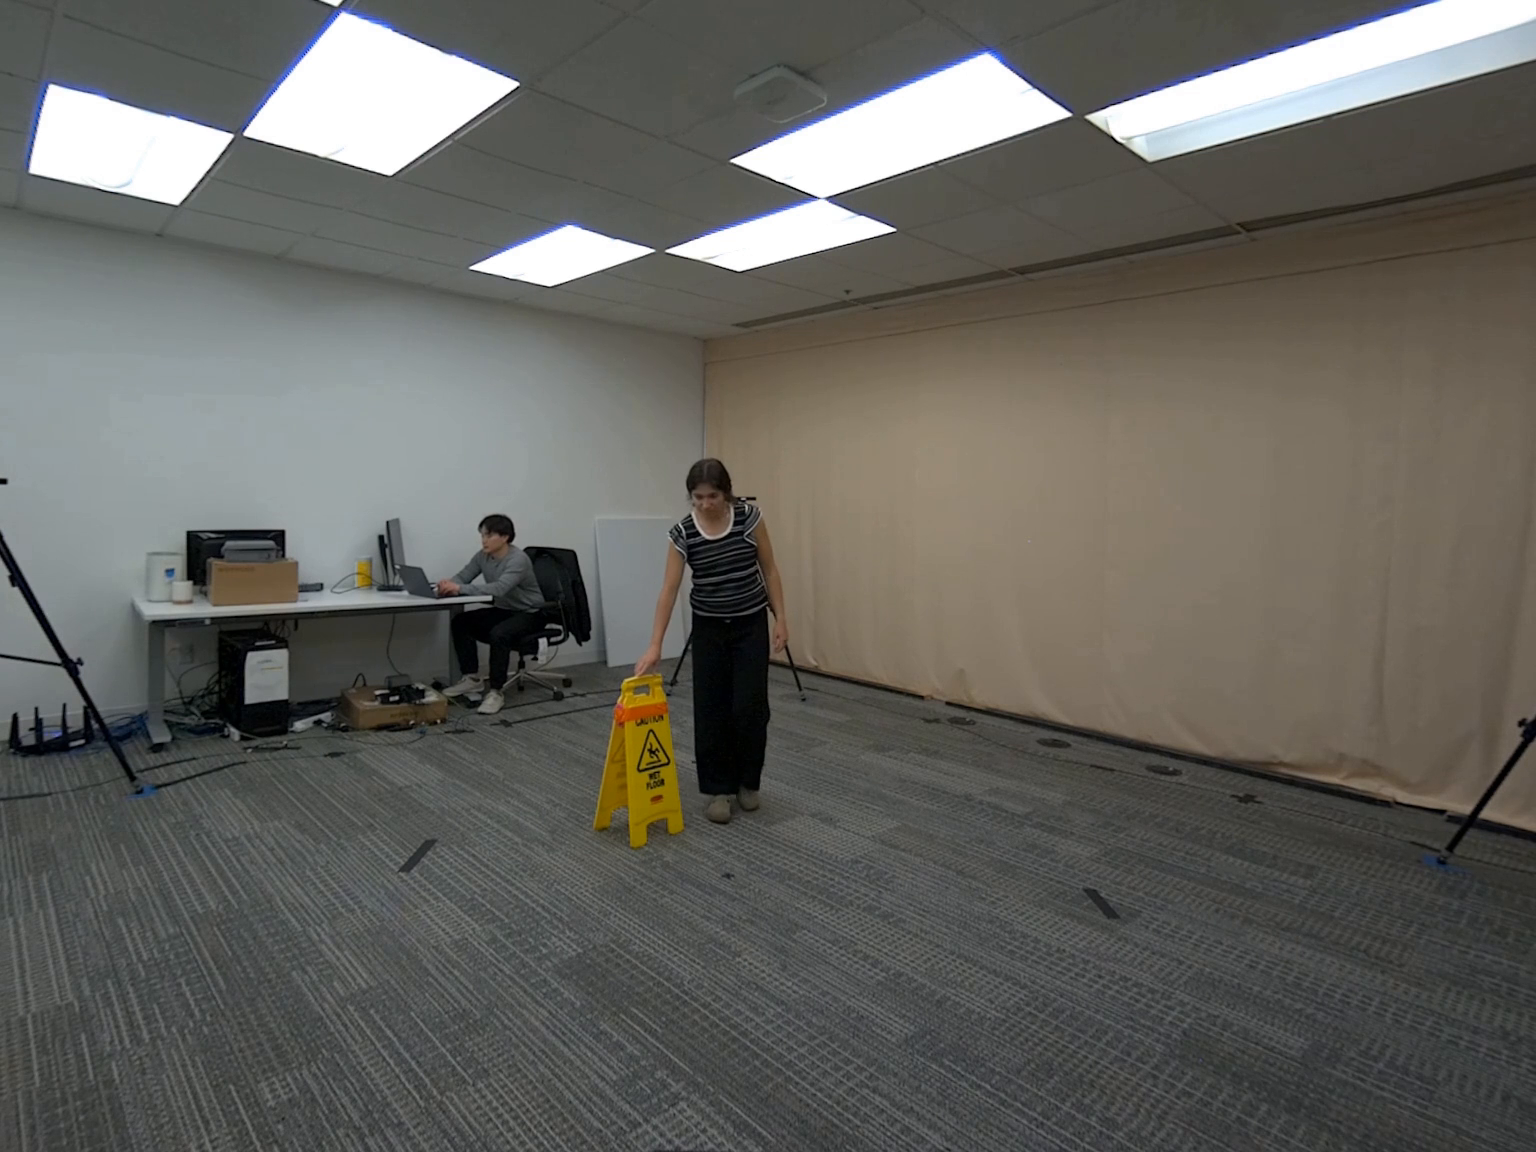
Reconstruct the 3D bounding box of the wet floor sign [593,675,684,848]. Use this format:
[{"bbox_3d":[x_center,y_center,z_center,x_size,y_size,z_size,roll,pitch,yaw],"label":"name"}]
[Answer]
[{"bbox_3d":[-0.541,0.739,3.495,0.297,0.645,0.276,3,3,42],"label":"wet floor sign"}]
